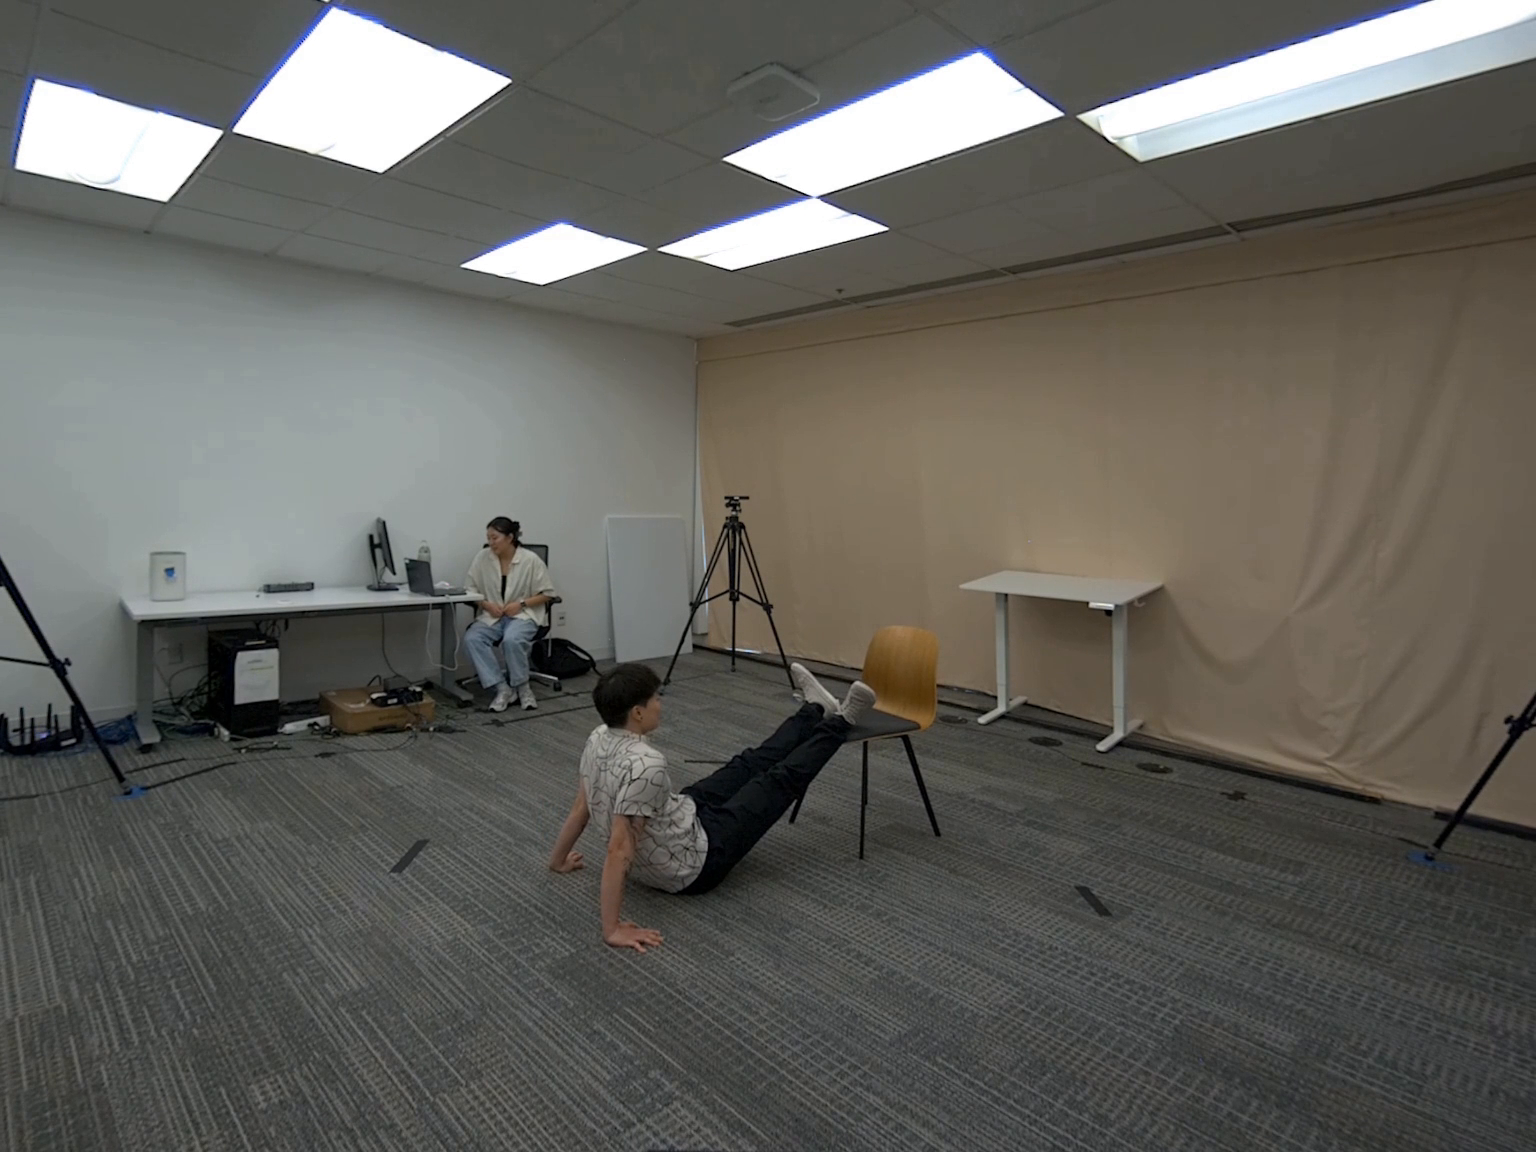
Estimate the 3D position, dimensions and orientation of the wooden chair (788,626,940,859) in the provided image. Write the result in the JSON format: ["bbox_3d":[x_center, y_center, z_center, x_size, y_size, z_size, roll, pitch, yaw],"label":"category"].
[{"bbox_3d":[0.404,0.649,3.545,0.510,0.877,0.490,5,1,-36],"label":"wooden chair"}]
